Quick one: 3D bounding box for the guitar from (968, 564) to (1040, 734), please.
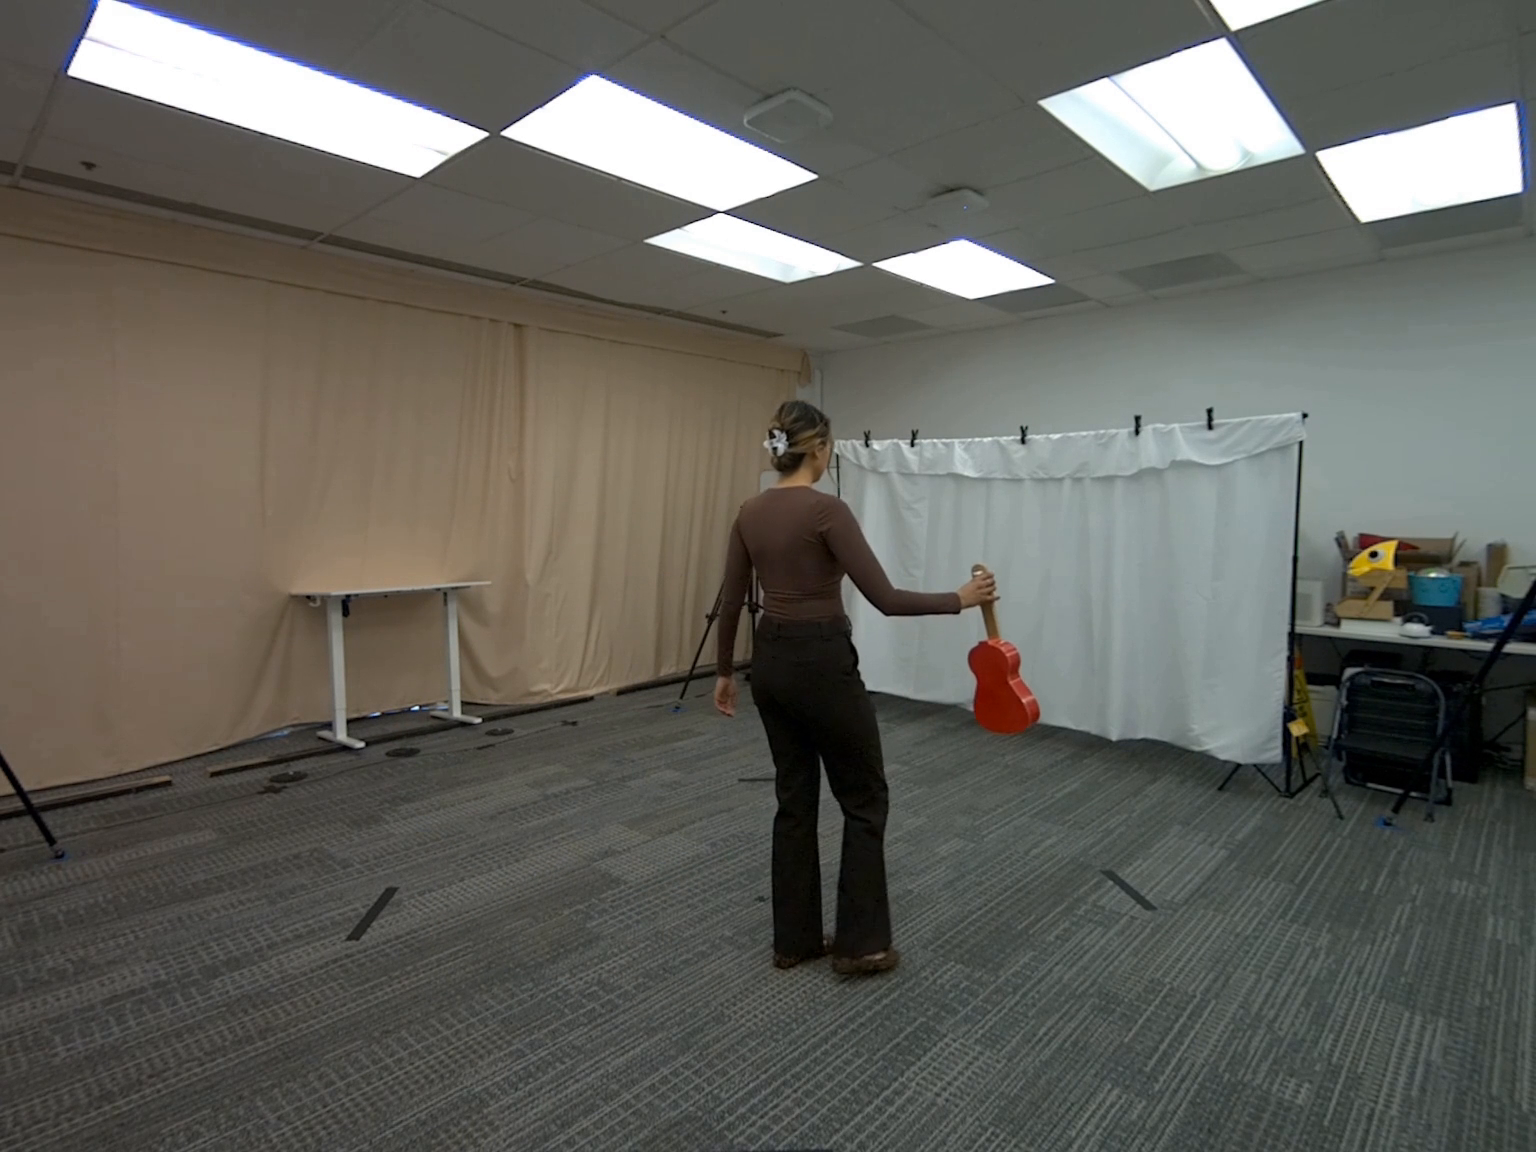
[{"bbox_3d":[0.655,0.223,2.534,0.069,0.503,0.196,-10,-13,-34],"label":"guitar"}]
